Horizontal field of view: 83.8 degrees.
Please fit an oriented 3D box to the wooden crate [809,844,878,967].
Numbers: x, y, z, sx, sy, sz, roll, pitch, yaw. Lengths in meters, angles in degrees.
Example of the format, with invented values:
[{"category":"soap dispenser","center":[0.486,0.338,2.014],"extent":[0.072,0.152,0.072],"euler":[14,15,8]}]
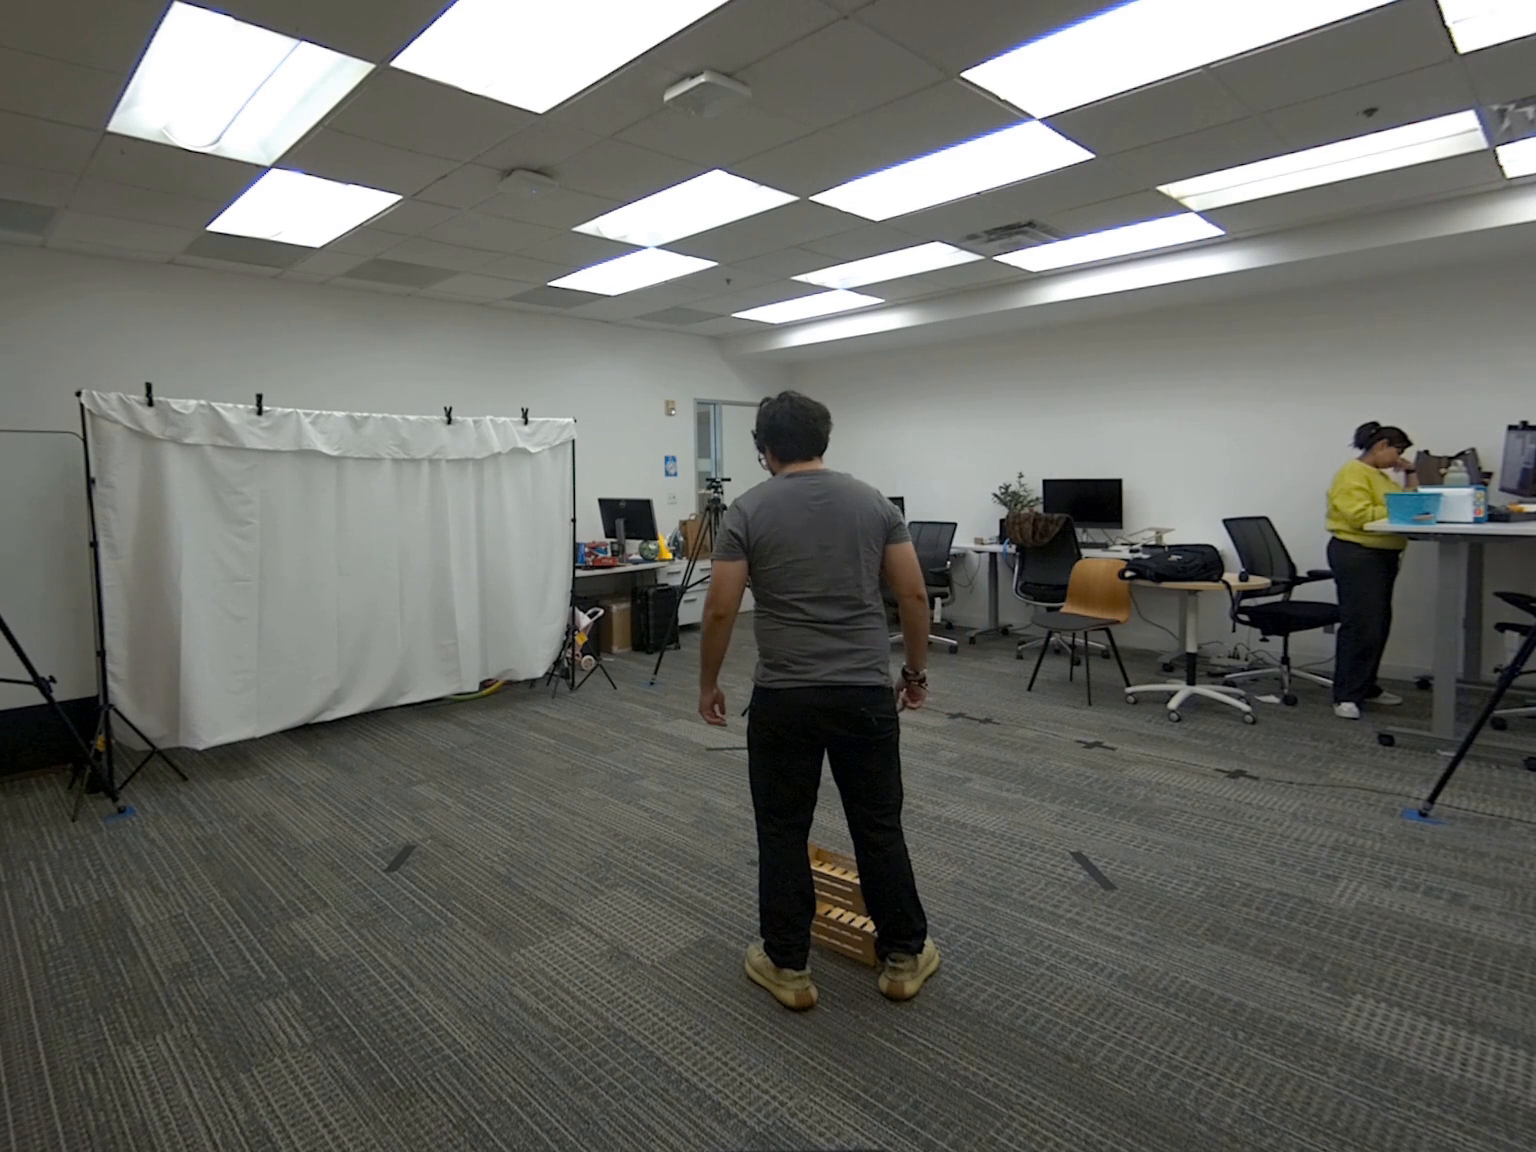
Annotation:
[{"category":"wooden crate","center":[0.251,0.964,2.594],"extent":[0.334,0.272,0.295],"euler":[3,8,37]}]
